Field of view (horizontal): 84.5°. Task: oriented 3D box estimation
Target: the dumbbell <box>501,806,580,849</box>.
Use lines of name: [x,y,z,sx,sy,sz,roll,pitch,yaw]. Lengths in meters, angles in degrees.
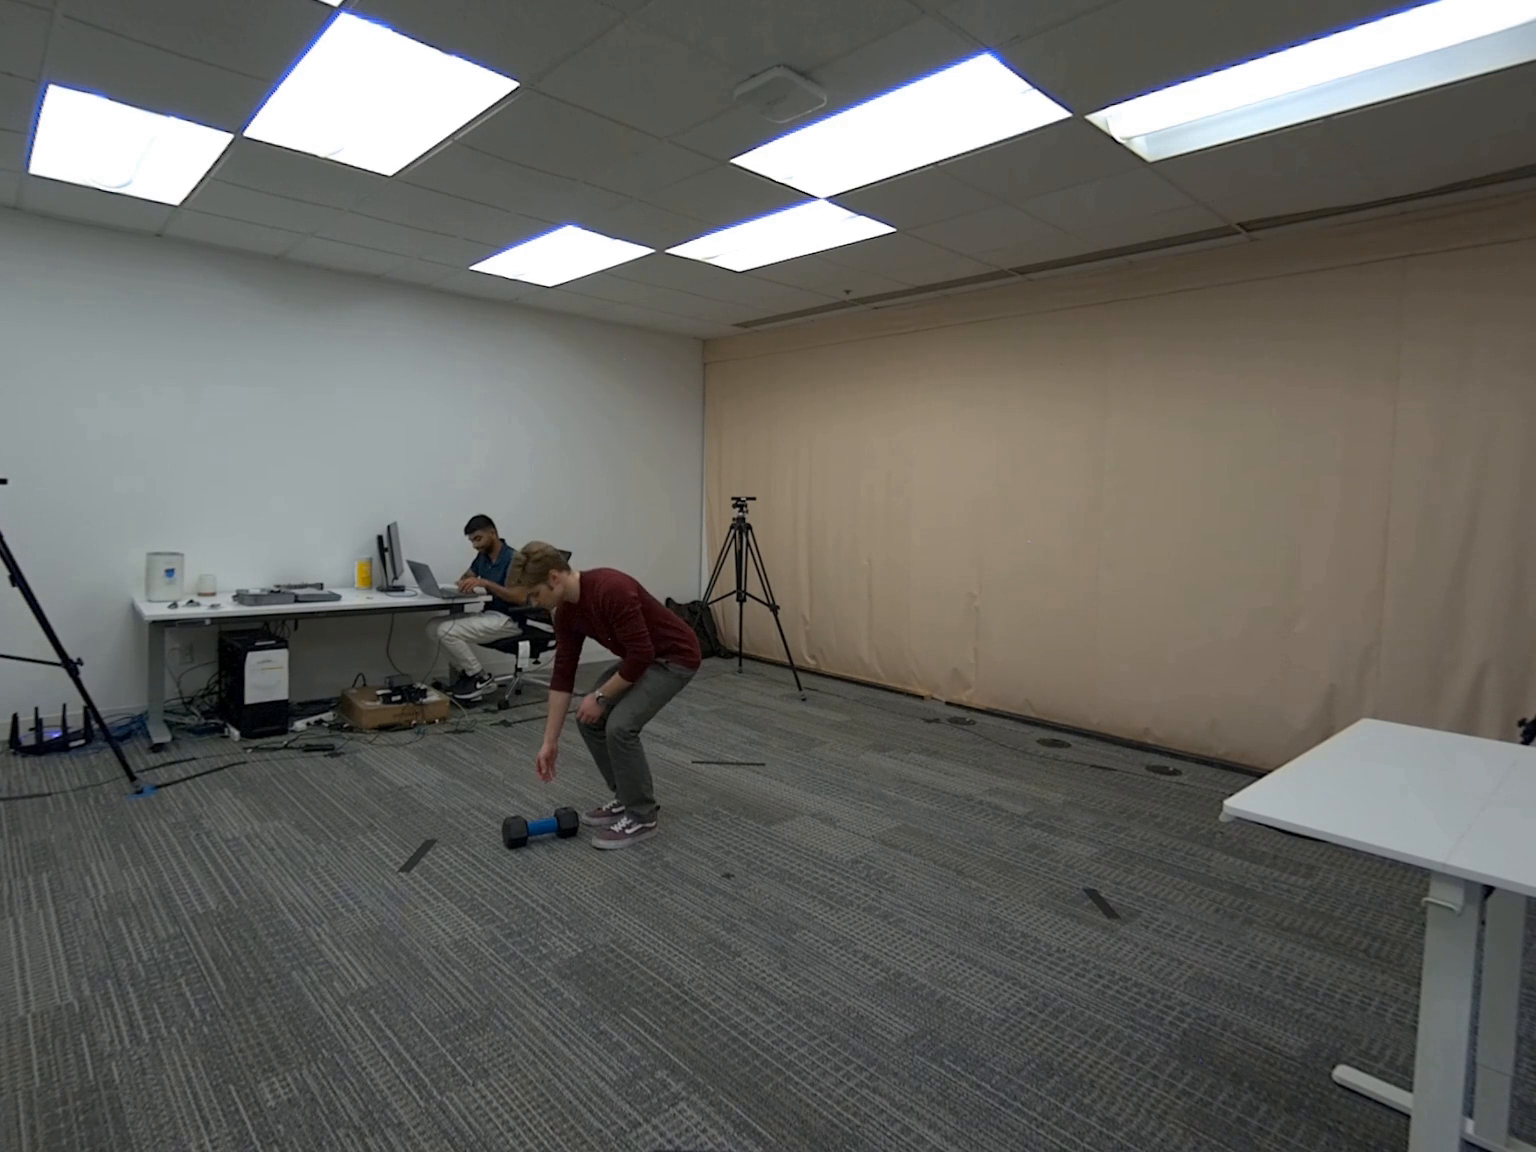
dumbbell: [-0.927,1.012,3.387,0.287,0.125,0.109,-1,-26,-32]
